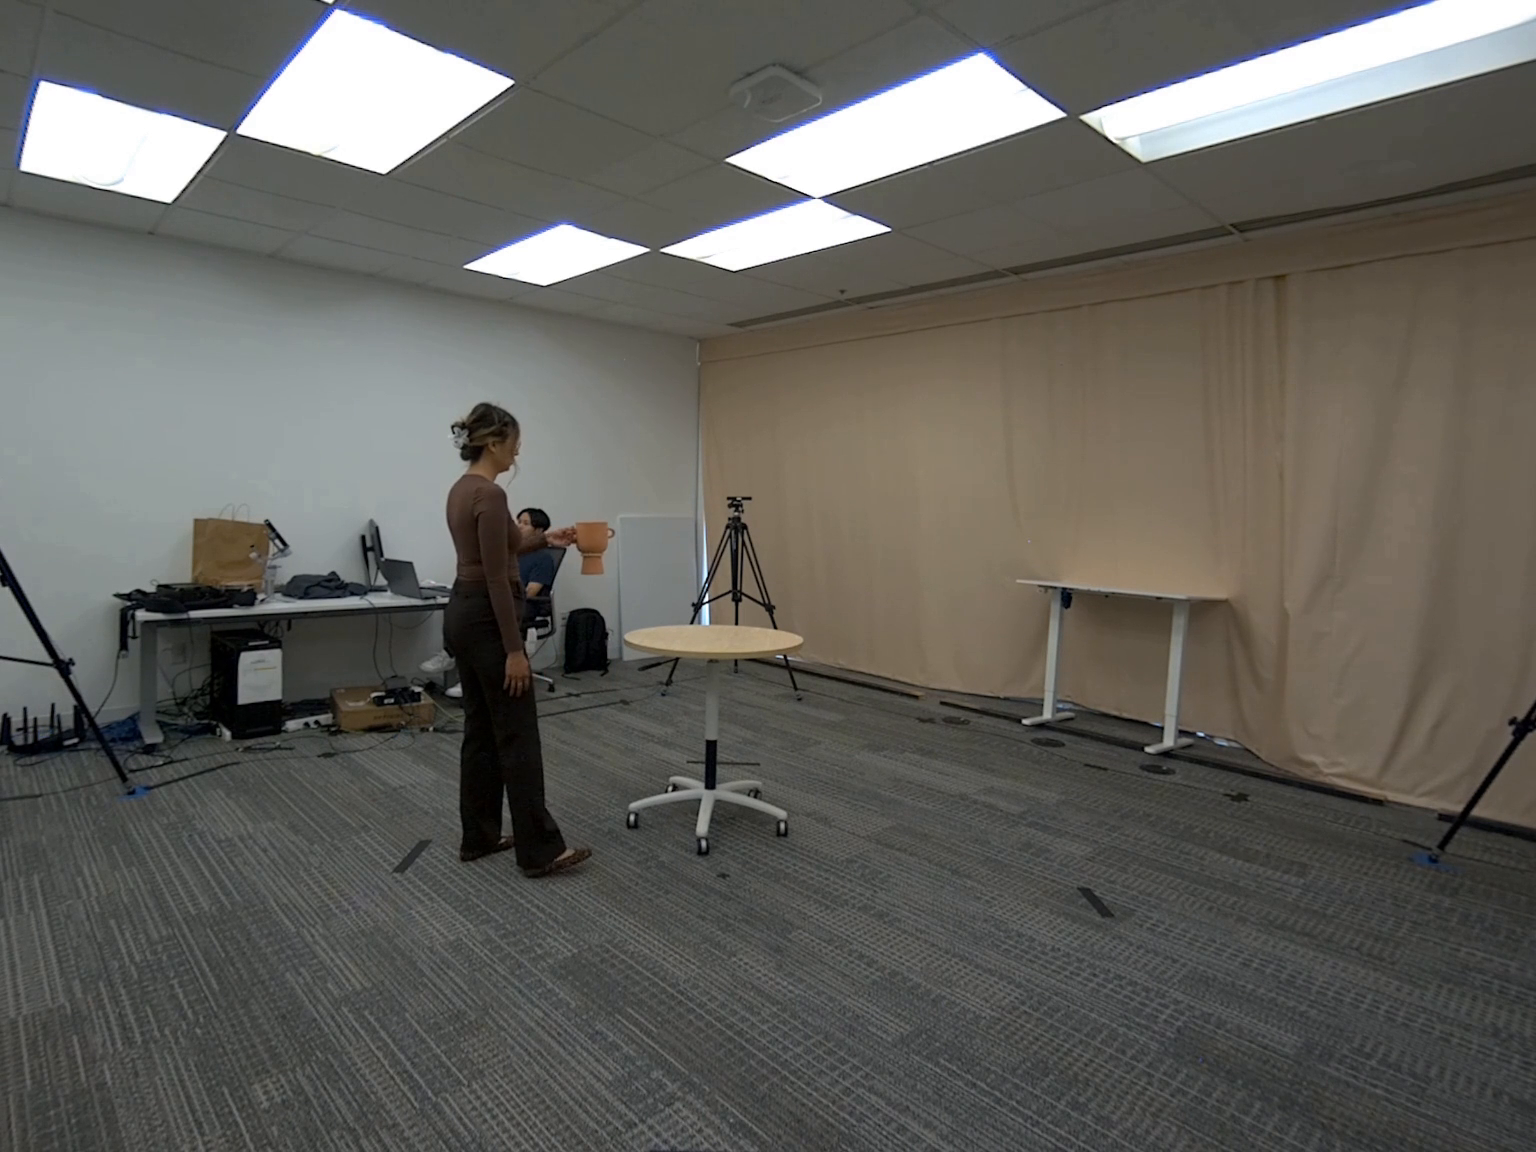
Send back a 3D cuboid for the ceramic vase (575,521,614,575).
[{"bbox_3d":[-0.759,-0.119,3.537,0.161,0.219,0.133,-1,2,17],"label":"ceramic vase"}]
